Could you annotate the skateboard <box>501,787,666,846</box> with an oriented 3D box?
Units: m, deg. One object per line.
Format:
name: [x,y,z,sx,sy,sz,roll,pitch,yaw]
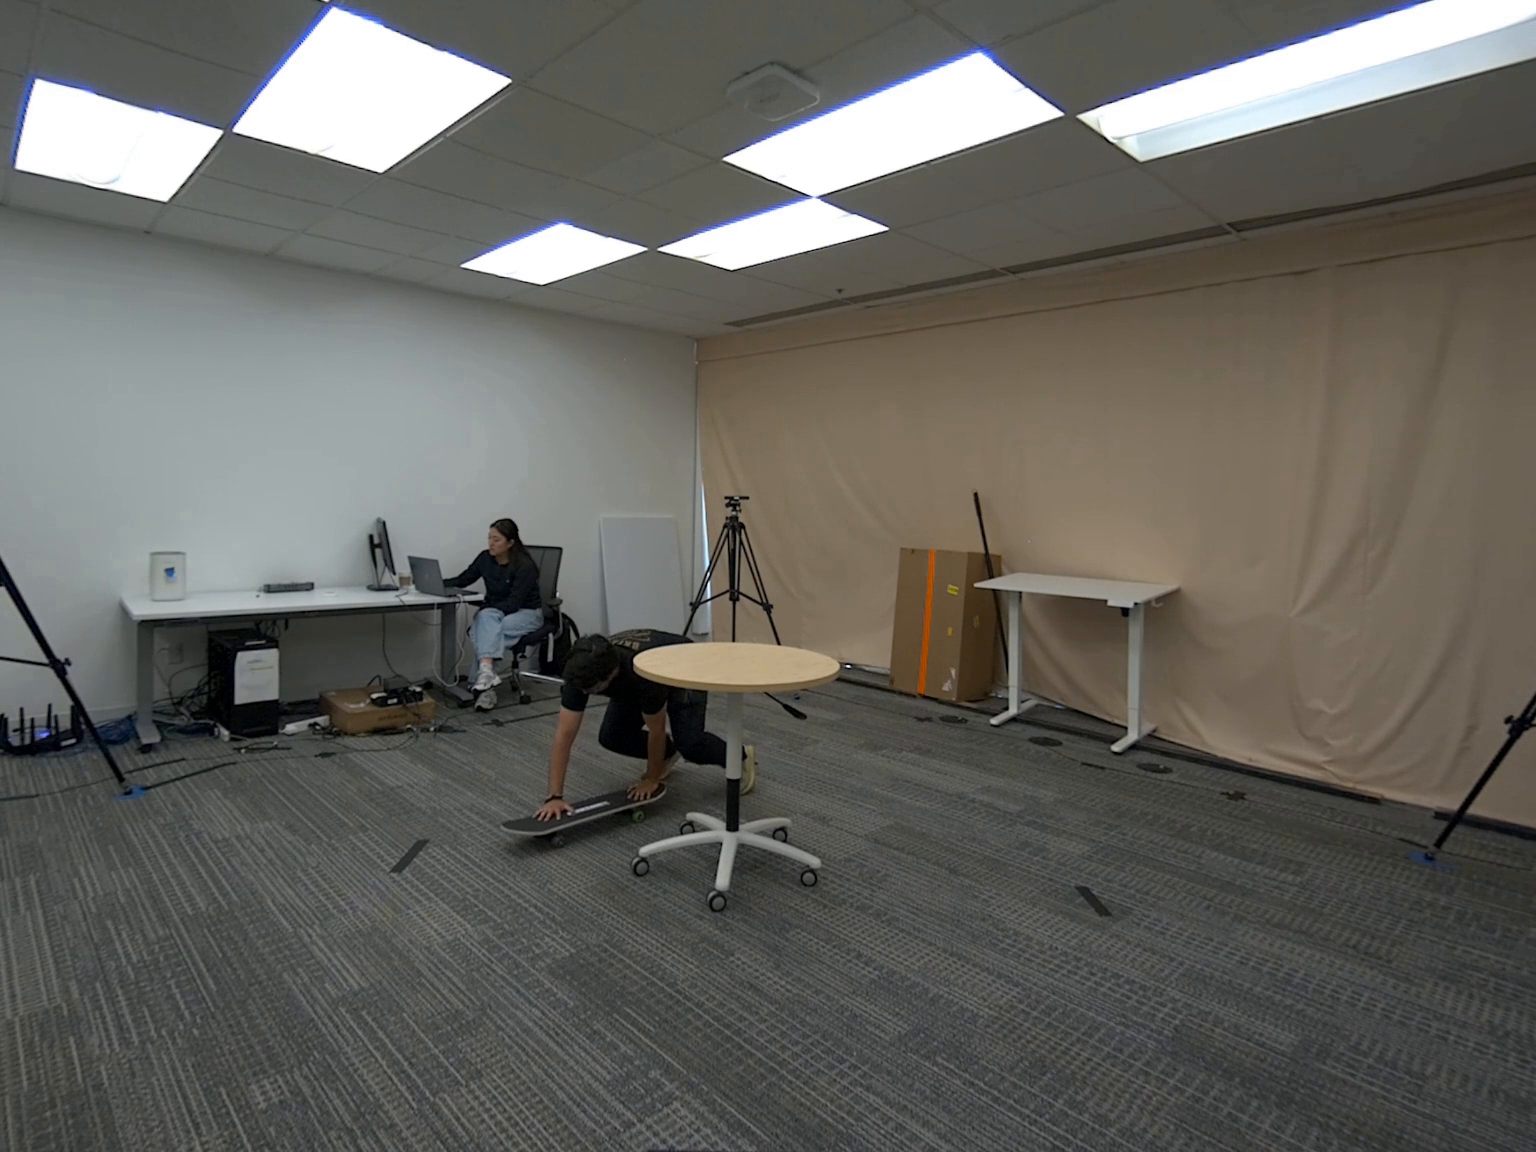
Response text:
skateboard: [-0.766,1.002,3.497,0.198,0.110,0.767,2,4,44]
